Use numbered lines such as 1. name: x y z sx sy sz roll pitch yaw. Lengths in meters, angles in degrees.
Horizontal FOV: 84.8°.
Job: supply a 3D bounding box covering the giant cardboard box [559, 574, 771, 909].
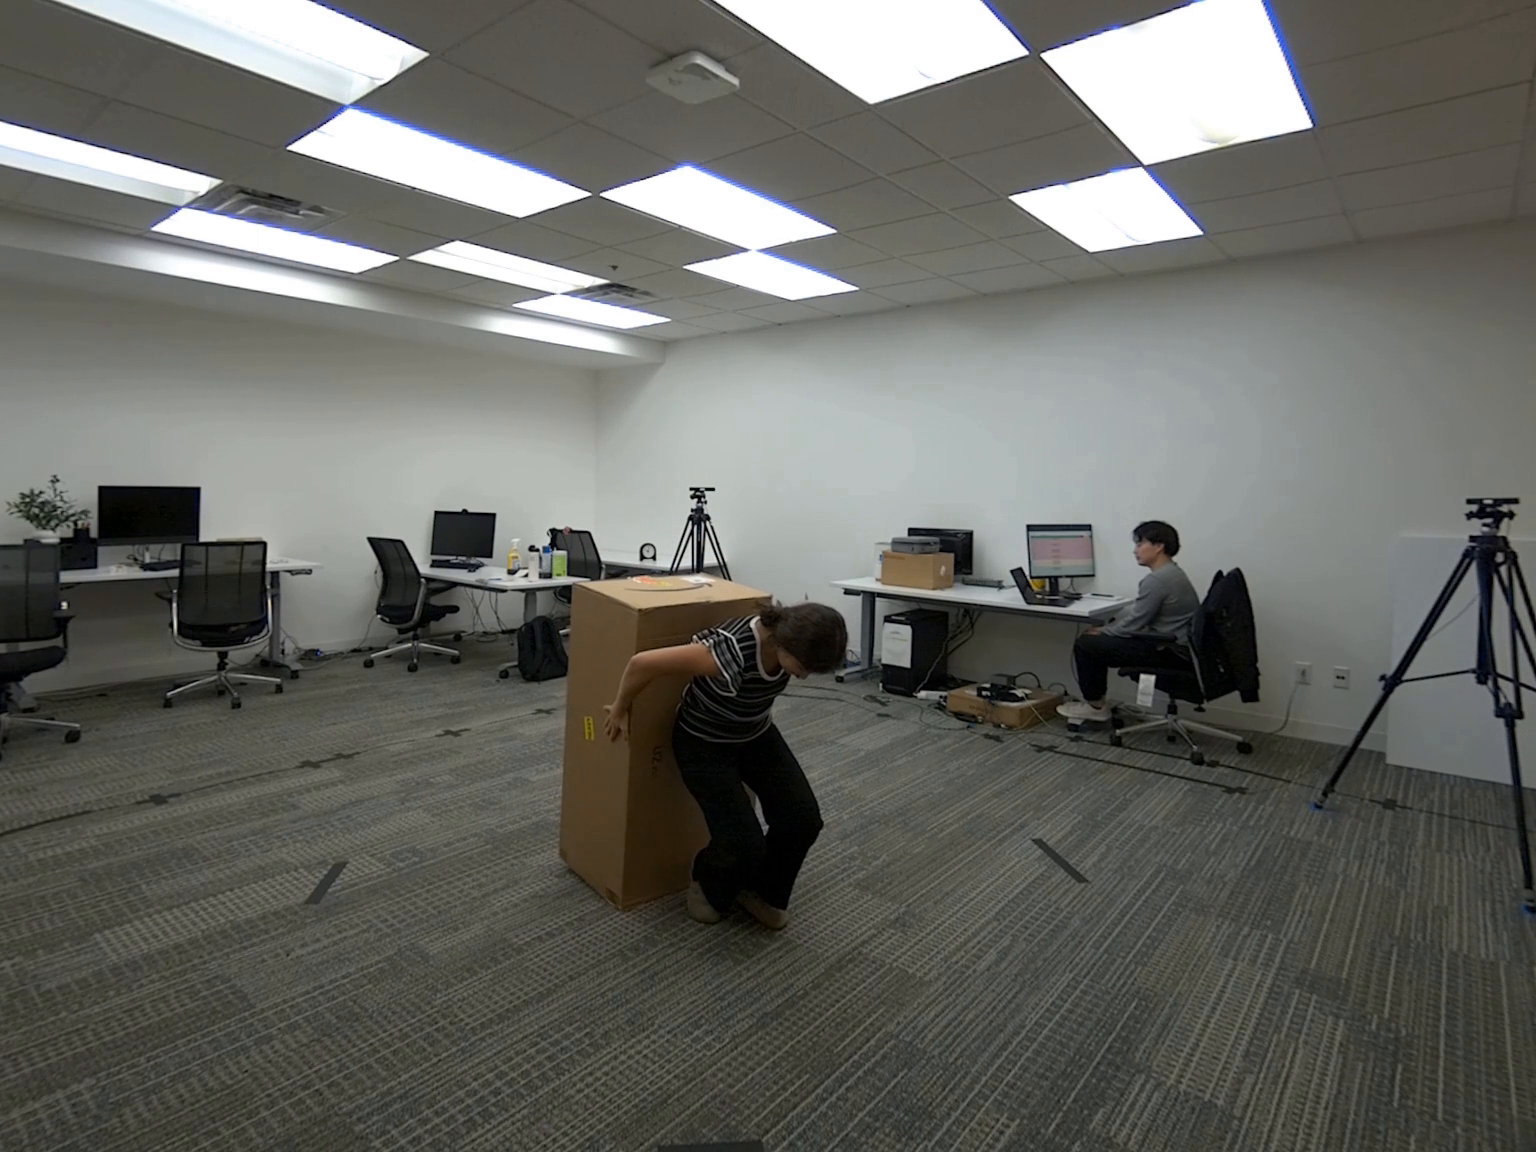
1. giant cardboard box: -0.388 0.543 3.051 0.560 1.018 0.442 -3 11 -41
